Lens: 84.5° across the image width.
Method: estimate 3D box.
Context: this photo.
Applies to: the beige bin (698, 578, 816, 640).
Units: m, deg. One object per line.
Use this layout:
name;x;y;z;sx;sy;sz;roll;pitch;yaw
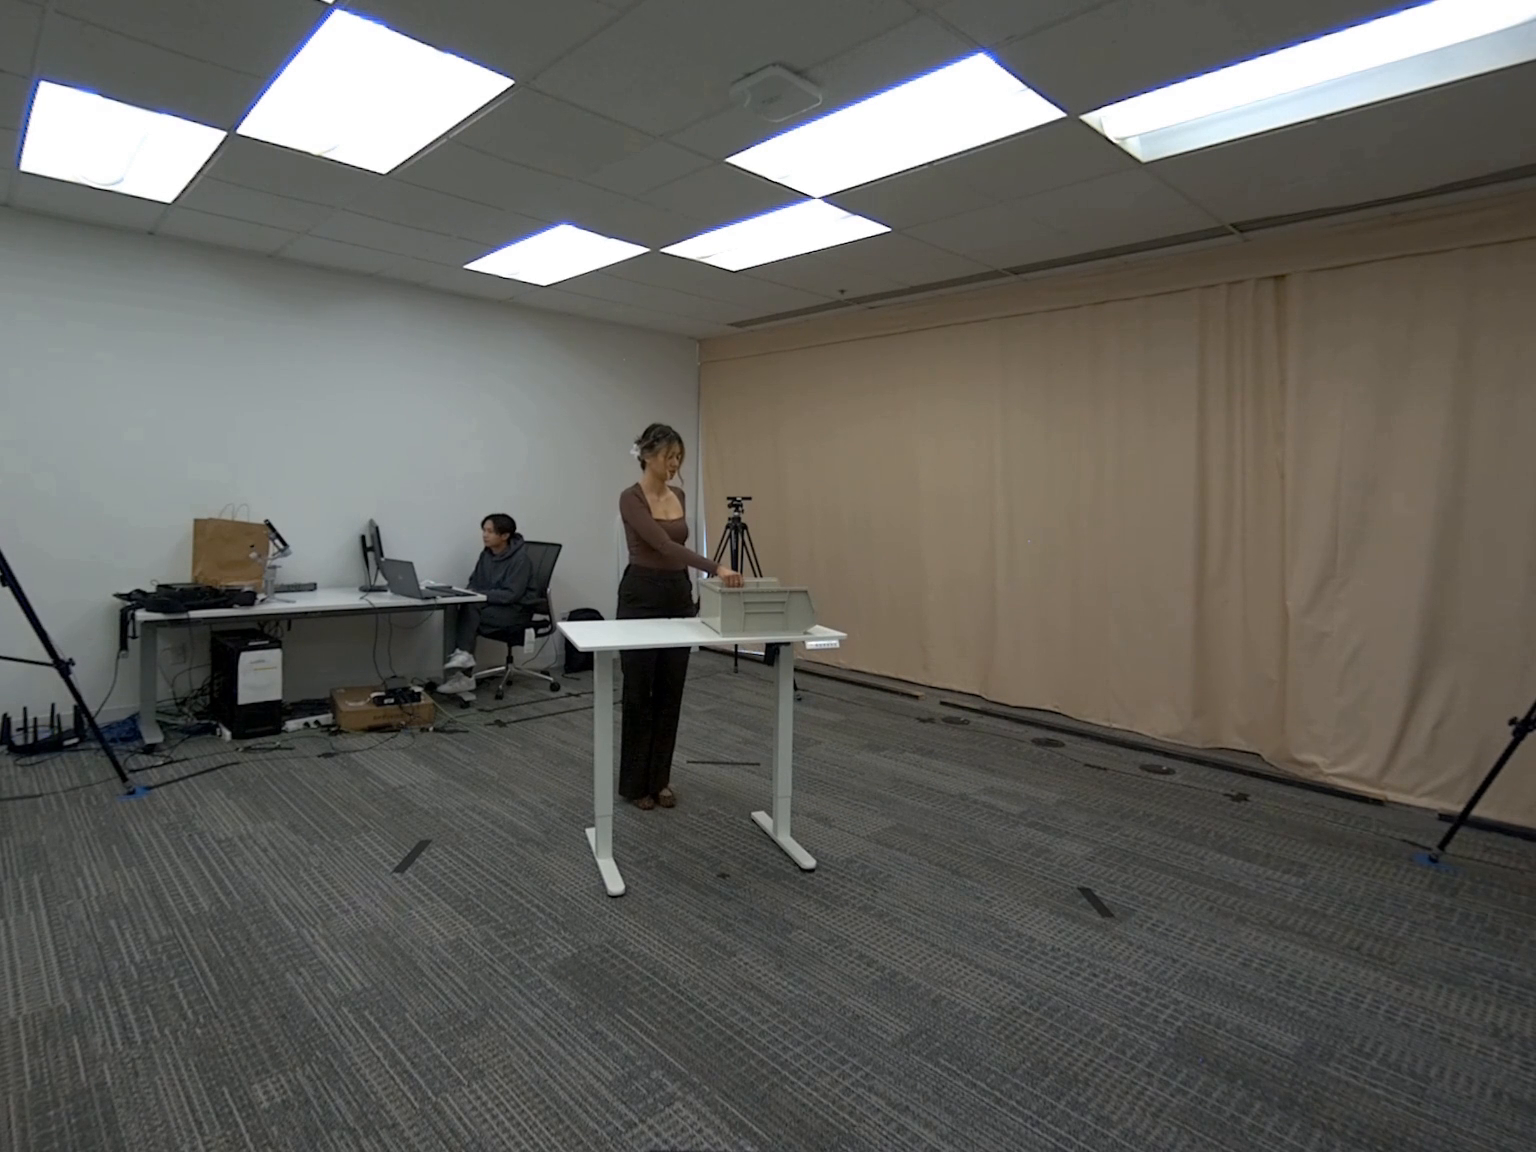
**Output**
beige bin;-0.062;0.118;3.293;0.373;0.188;0.429;-2;6;-15
